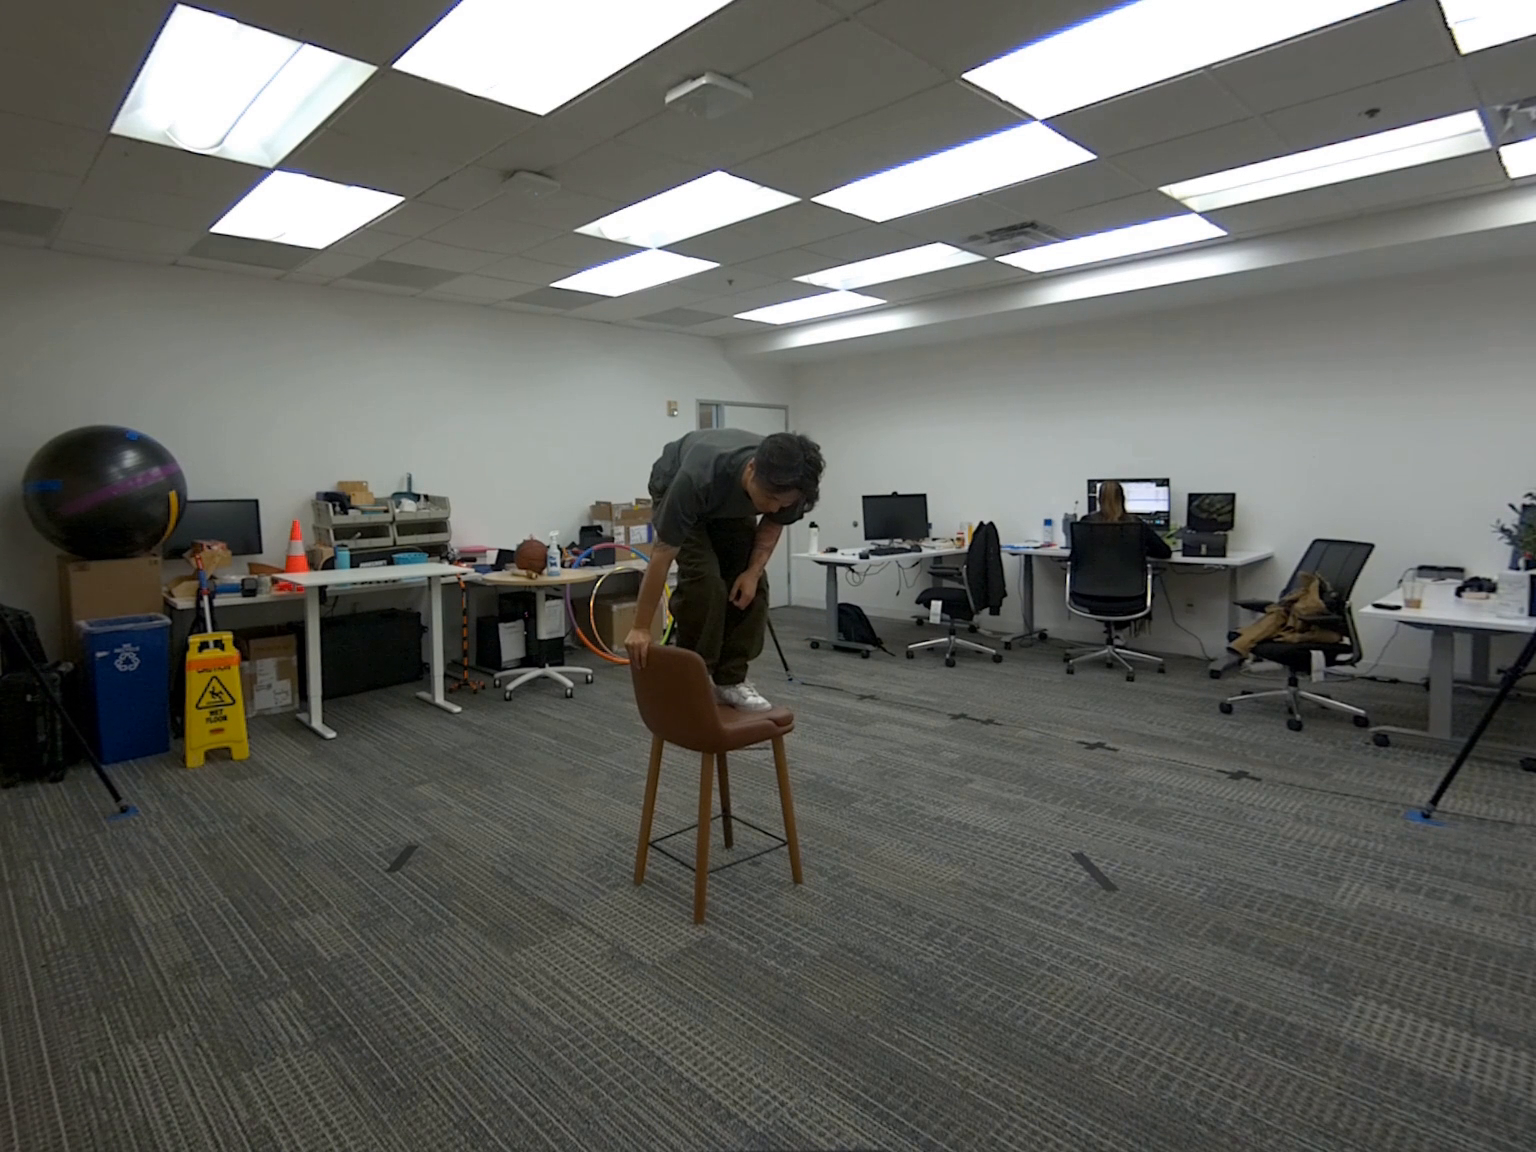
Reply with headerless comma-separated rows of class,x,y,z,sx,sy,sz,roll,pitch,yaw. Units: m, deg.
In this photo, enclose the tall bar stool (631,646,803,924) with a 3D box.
tall bar stool,-0.190,0.629,2.936,0.456,0.885,0.470,-7,7,-40
